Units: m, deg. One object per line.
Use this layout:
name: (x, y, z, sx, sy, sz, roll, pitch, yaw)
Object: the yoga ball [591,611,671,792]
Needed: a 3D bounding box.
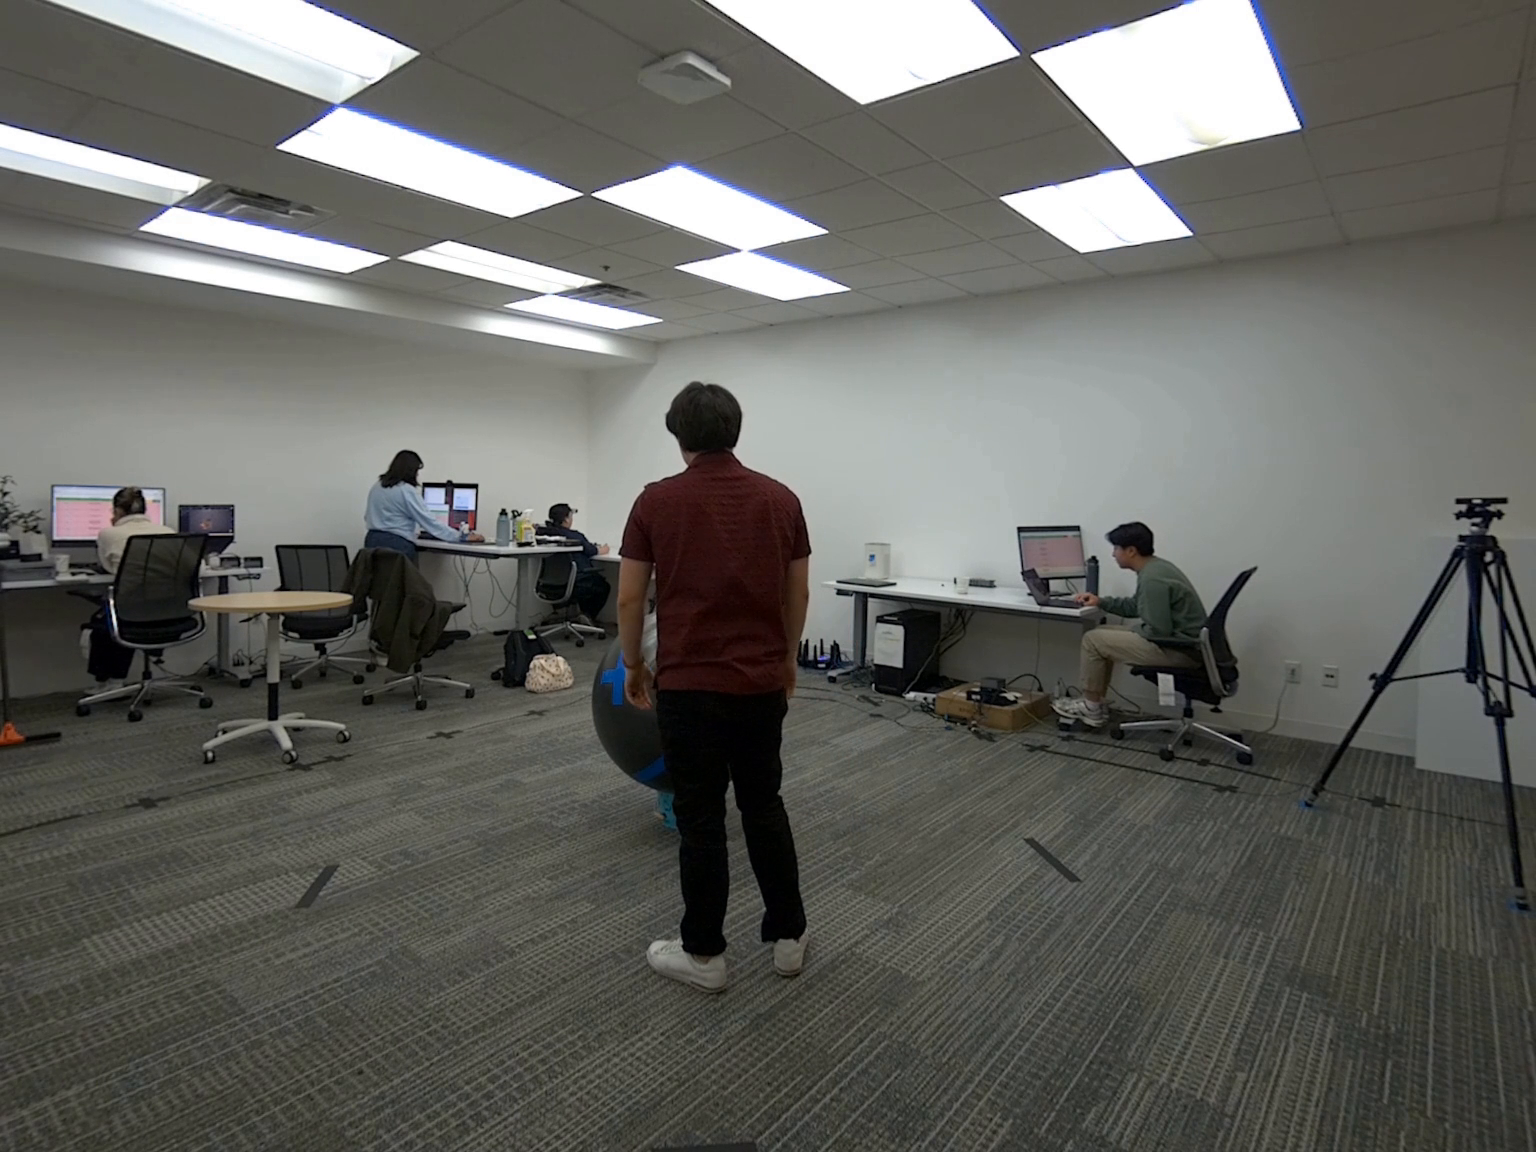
yoga ball: (-0.363, 0.512, 3.548, 0.757, 0.755, 0.762, 1, 4, -2)
